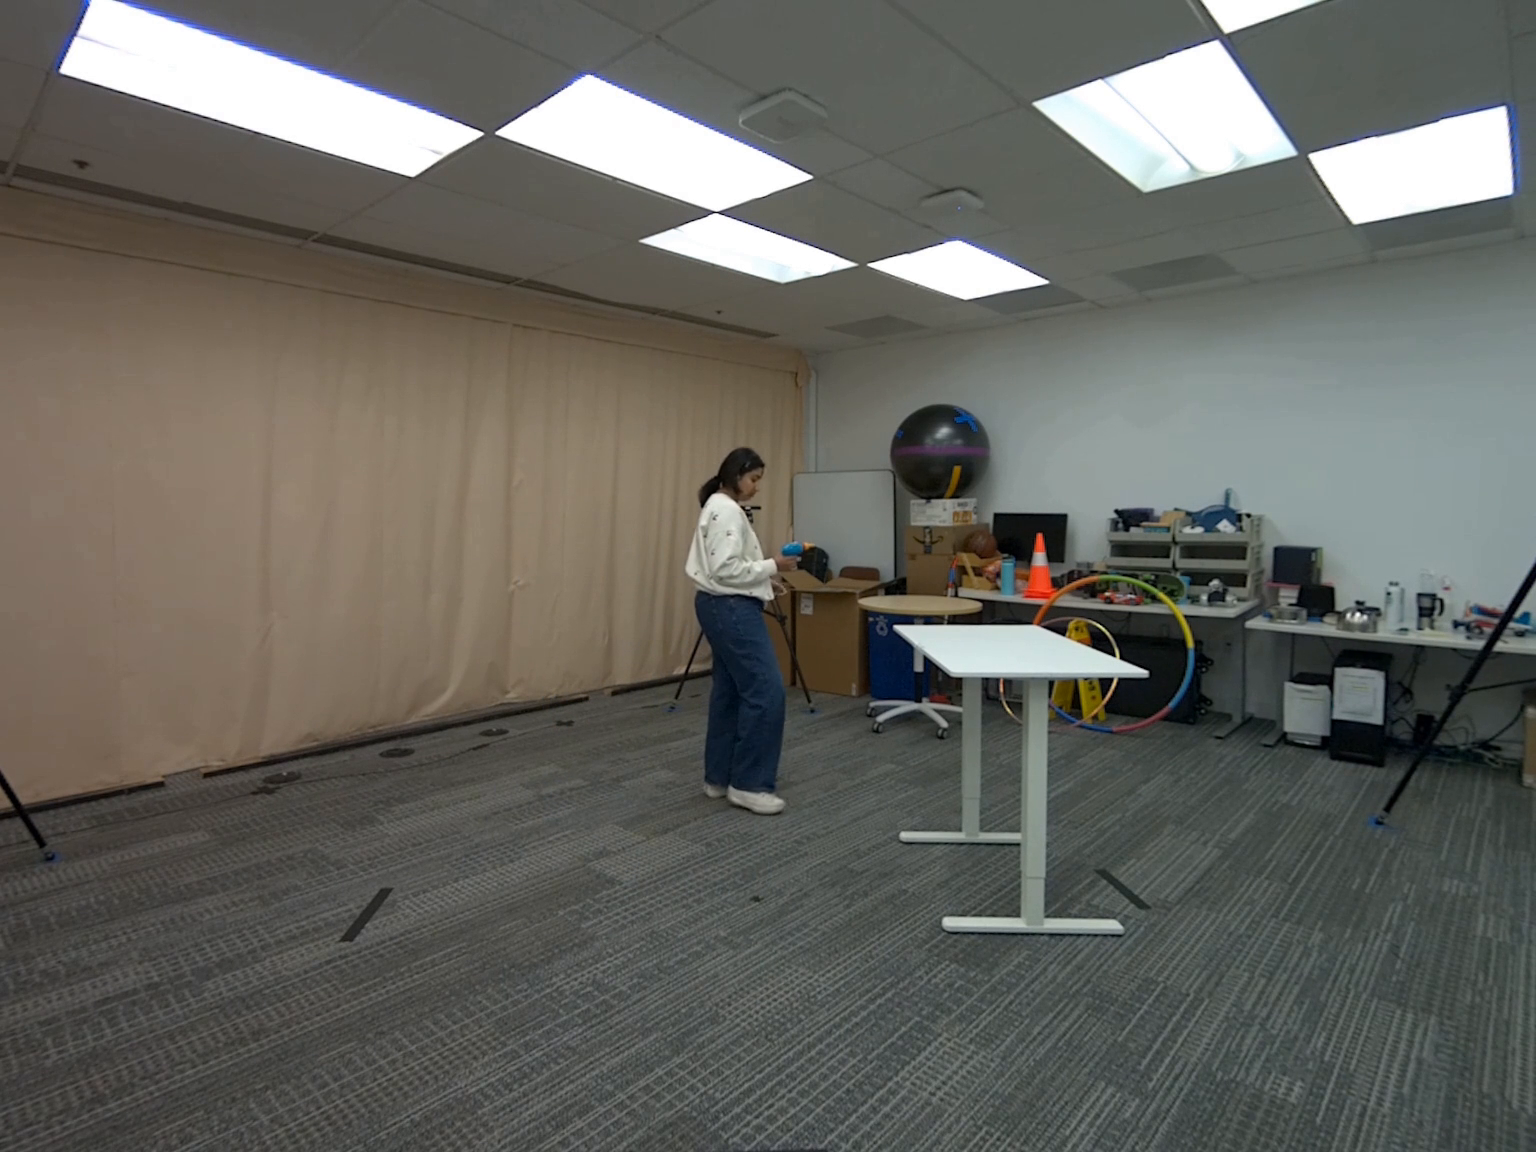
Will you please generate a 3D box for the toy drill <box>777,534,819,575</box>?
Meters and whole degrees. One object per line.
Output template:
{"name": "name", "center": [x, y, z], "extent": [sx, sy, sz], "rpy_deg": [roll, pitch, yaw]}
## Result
{"name": "toy drill", "center": [0.131, -0.101, 3.874], "extent": [0.167, 0.144, 0.063], "rpy_deg": [-12, 45, -19]}
